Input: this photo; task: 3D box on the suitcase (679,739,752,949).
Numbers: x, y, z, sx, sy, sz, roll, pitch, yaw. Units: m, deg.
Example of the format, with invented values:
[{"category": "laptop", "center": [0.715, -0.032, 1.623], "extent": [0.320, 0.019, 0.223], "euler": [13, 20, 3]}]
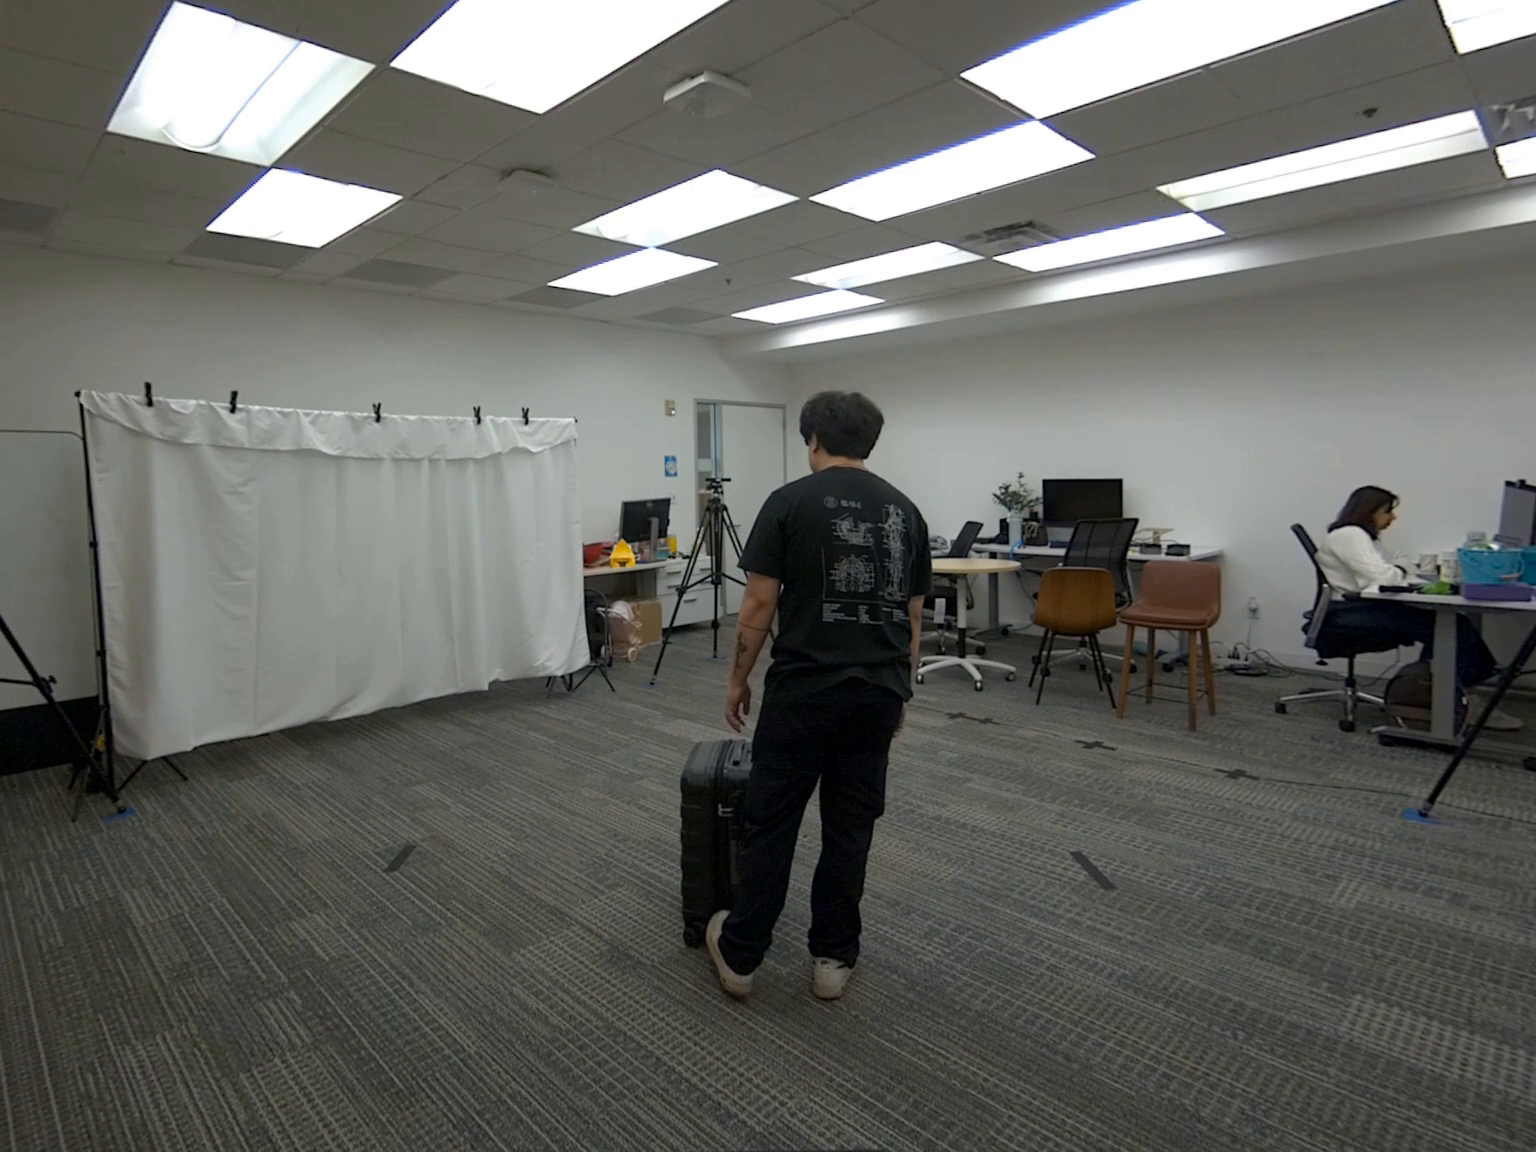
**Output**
[{"category": "suitcase", "center": [-0.128, 0.816, 2.699], "extent": [0.249, 0.547, 0.375], "euler": [-2, 4, 4]}]
